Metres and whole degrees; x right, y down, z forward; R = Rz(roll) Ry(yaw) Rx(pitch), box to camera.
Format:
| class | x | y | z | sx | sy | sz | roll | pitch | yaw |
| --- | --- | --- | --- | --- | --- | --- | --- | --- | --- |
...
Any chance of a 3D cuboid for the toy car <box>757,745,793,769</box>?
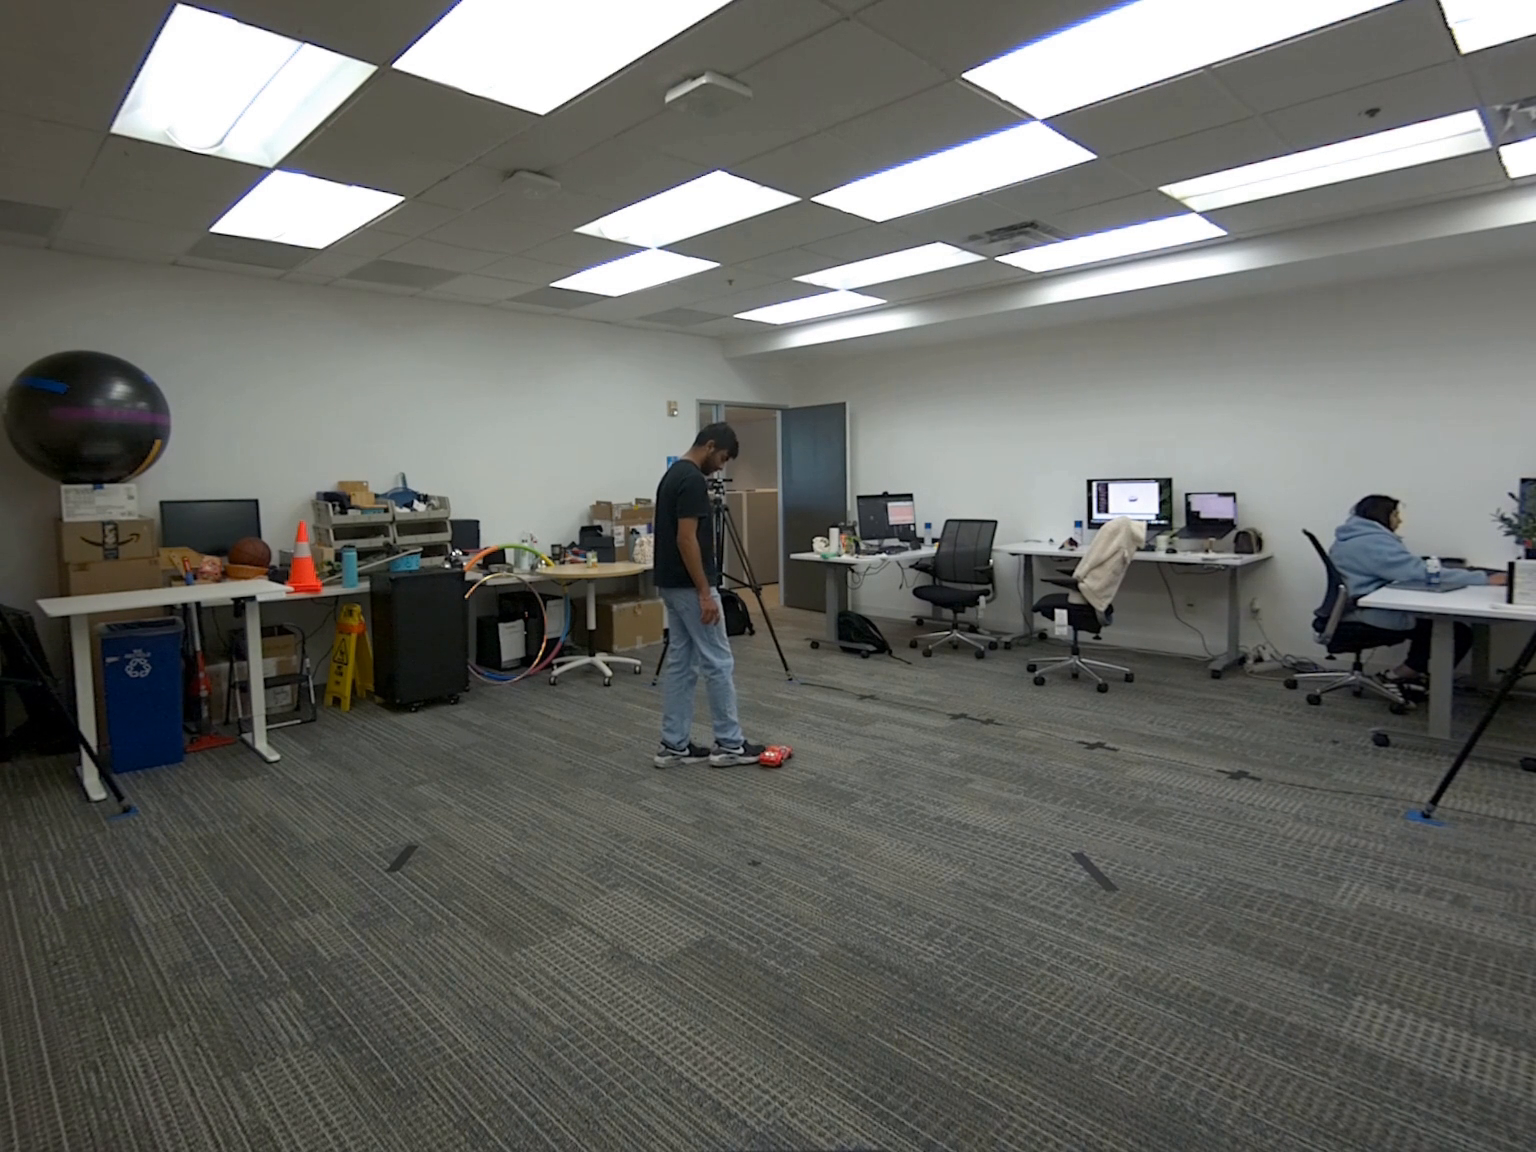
| class | x | y | z | sx | sy | sz | roll | pitch | yaw |
| --- | --- | --- | --- | --- | --- | --- | --- | --- | --- |
| toy car | 0.035 | 0.890 | 4.214 | 0.133 | 0.083 | 0.248 | 3 | -5 | 23 |
